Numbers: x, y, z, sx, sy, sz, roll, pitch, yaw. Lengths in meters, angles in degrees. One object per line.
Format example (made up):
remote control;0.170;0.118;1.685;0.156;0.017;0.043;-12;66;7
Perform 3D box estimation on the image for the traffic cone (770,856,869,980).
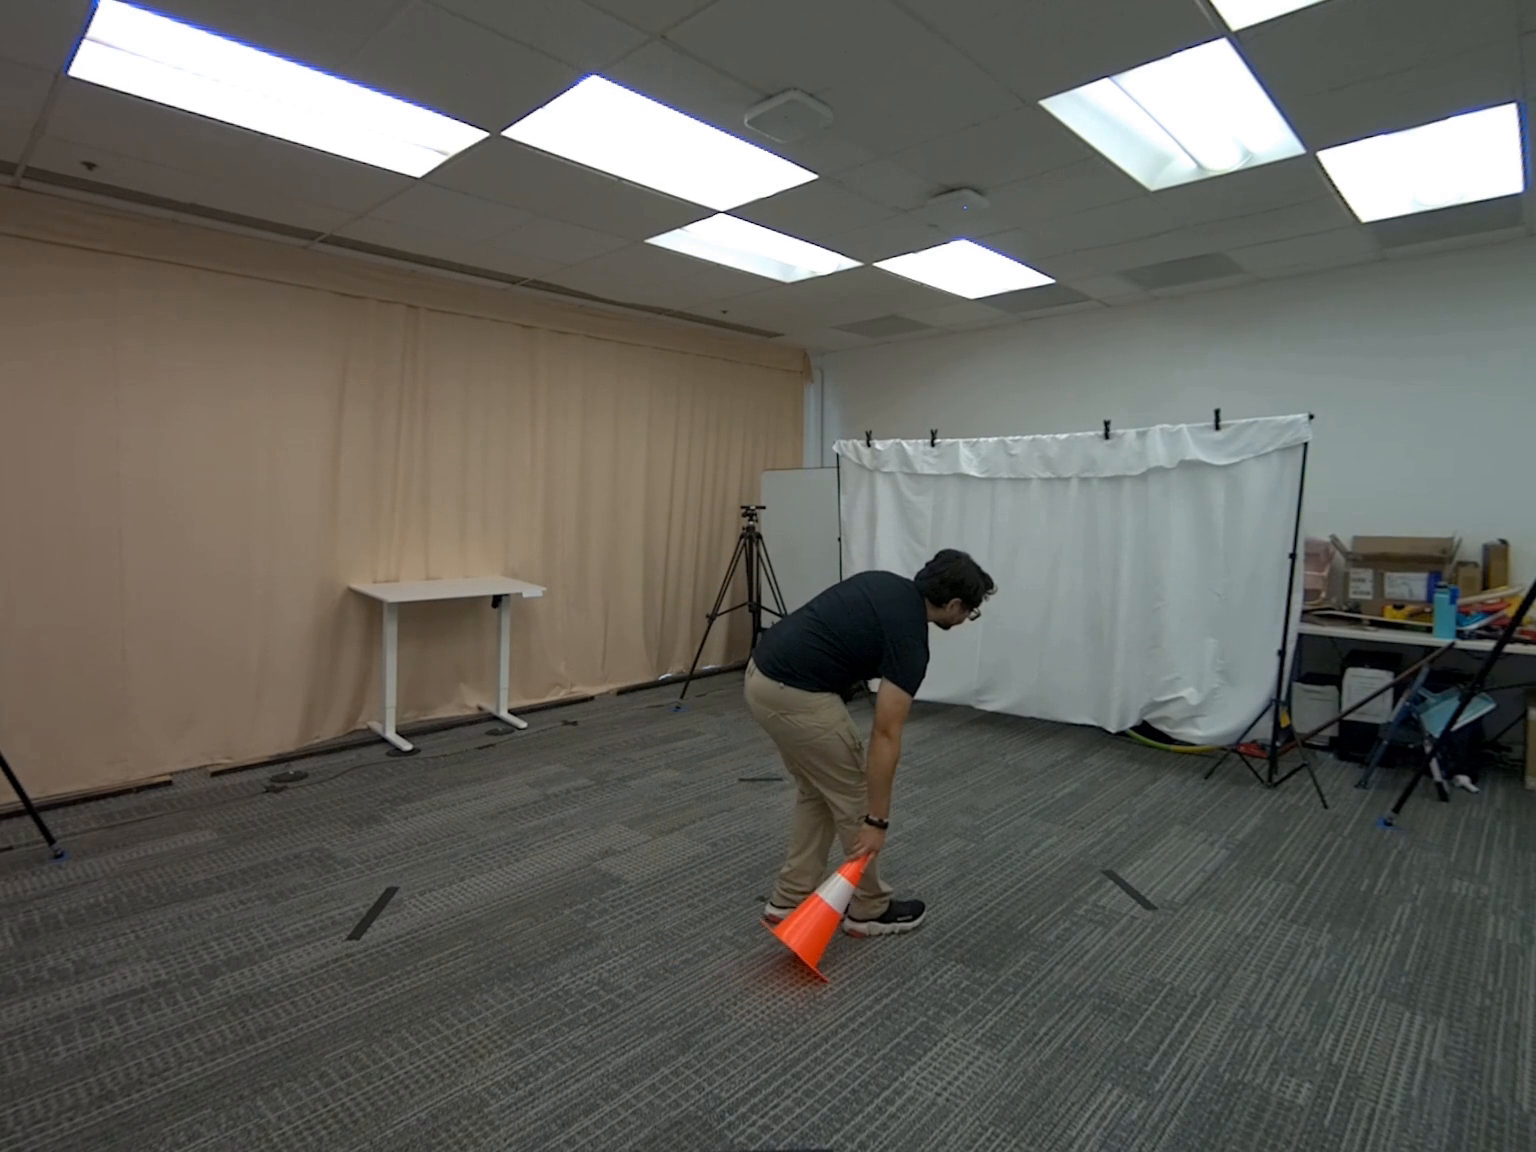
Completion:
traffic cone;0.195;0.977;2.558;0.199;0.382;0.209;47;-16;-26
